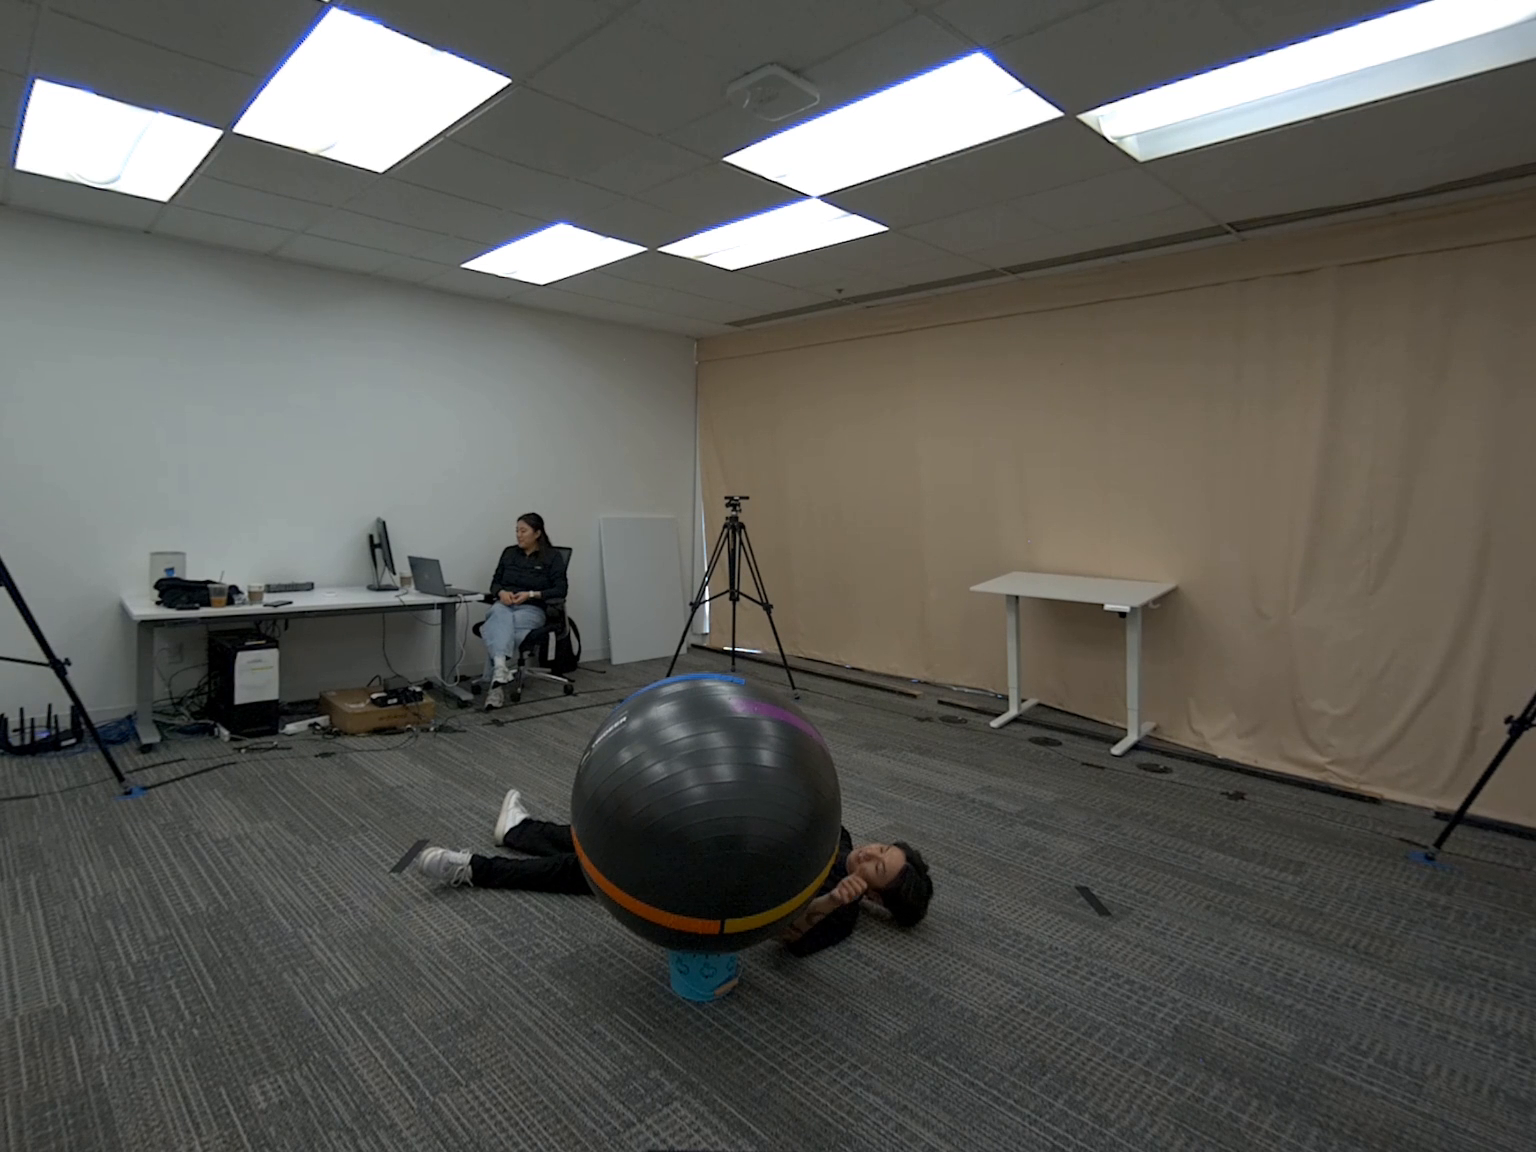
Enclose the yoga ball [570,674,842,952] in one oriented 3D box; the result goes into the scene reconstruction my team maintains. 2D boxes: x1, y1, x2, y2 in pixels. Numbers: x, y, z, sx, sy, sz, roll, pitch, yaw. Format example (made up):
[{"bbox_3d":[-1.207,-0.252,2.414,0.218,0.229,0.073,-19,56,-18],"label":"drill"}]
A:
[{"bbox_3d":[-0.176,0.660,2.389,0.757,0.756,0.761,1,4,-1],"label":"yoga ball"}]
